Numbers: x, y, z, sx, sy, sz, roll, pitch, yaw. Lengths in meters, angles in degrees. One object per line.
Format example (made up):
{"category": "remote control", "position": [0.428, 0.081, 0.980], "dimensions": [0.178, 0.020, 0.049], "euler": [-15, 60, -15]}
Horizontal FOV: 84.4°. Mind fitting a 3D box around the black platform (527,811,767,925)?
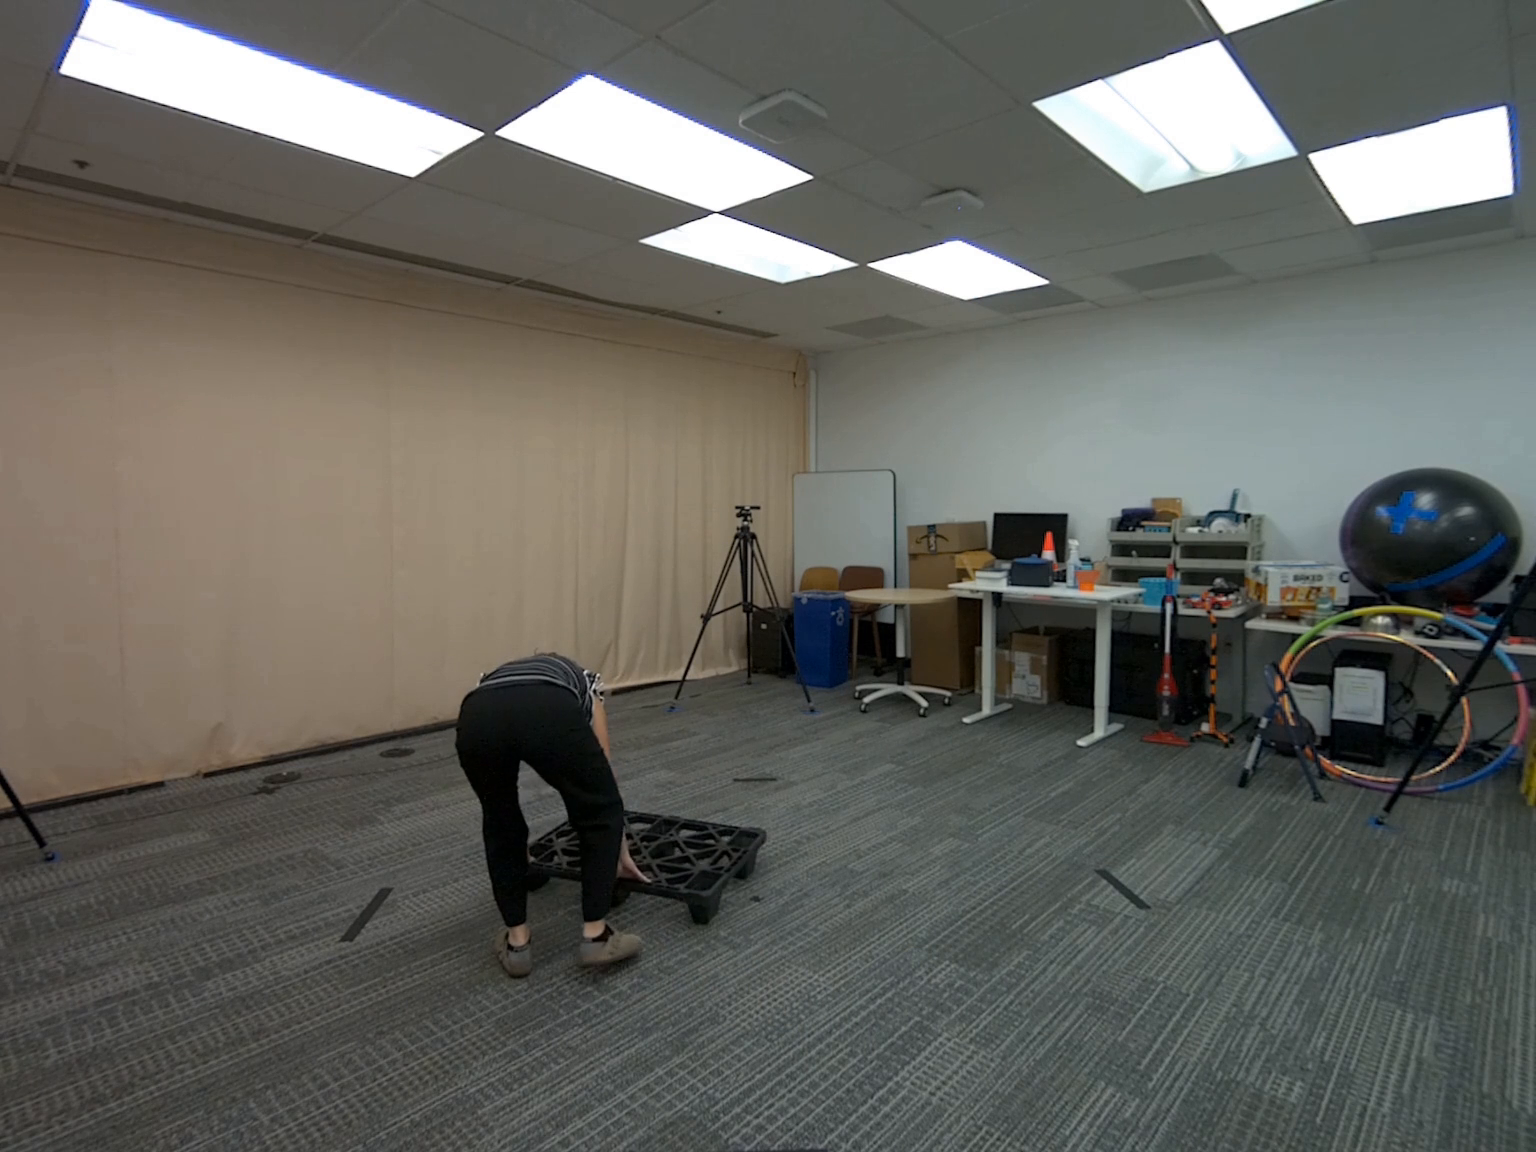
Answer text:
{"category": "black platform", "position": [-0.472, 1.064, 3.149], "dimensions": [0.823, 0.143, 0.593], "euler": [2, 4, 21]}
